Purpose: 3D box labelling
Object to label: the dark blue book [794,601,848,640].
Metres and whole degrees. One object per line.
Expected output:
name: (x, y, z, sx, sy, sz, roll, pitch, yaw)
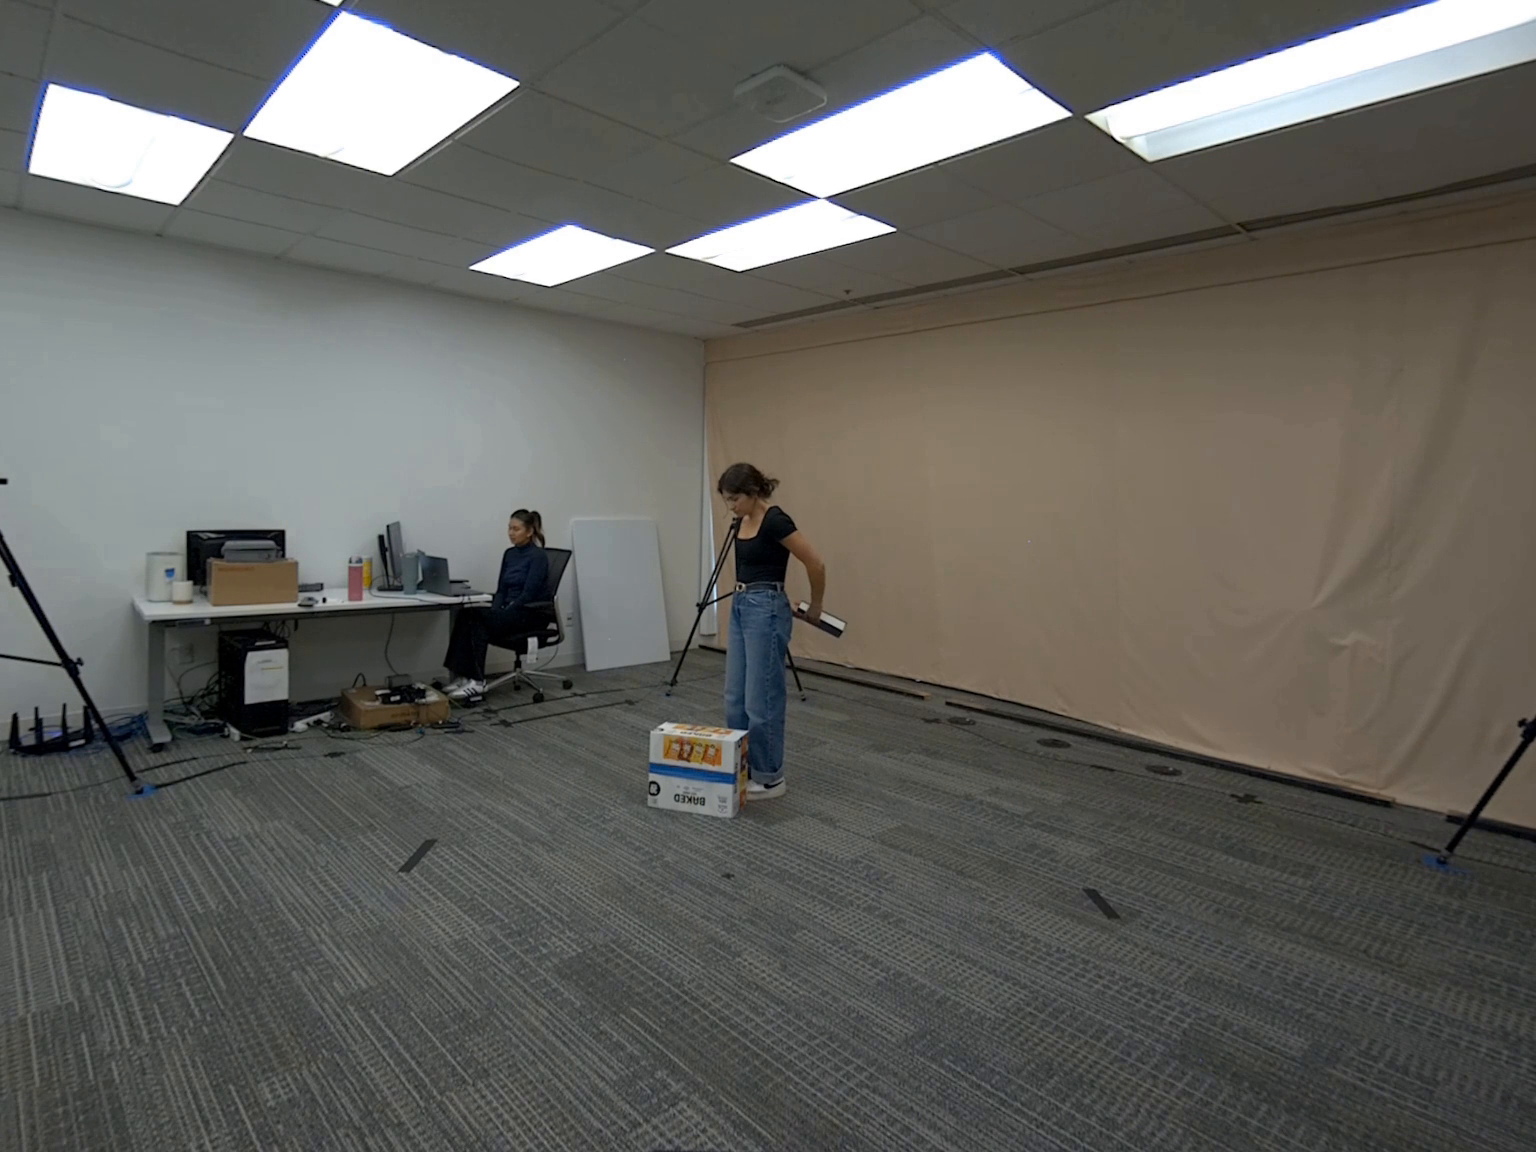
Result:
dark blue book: (0.252, 0.216, 4.114, 0.247, 0.045, 0.161, 26, -17, 8)
